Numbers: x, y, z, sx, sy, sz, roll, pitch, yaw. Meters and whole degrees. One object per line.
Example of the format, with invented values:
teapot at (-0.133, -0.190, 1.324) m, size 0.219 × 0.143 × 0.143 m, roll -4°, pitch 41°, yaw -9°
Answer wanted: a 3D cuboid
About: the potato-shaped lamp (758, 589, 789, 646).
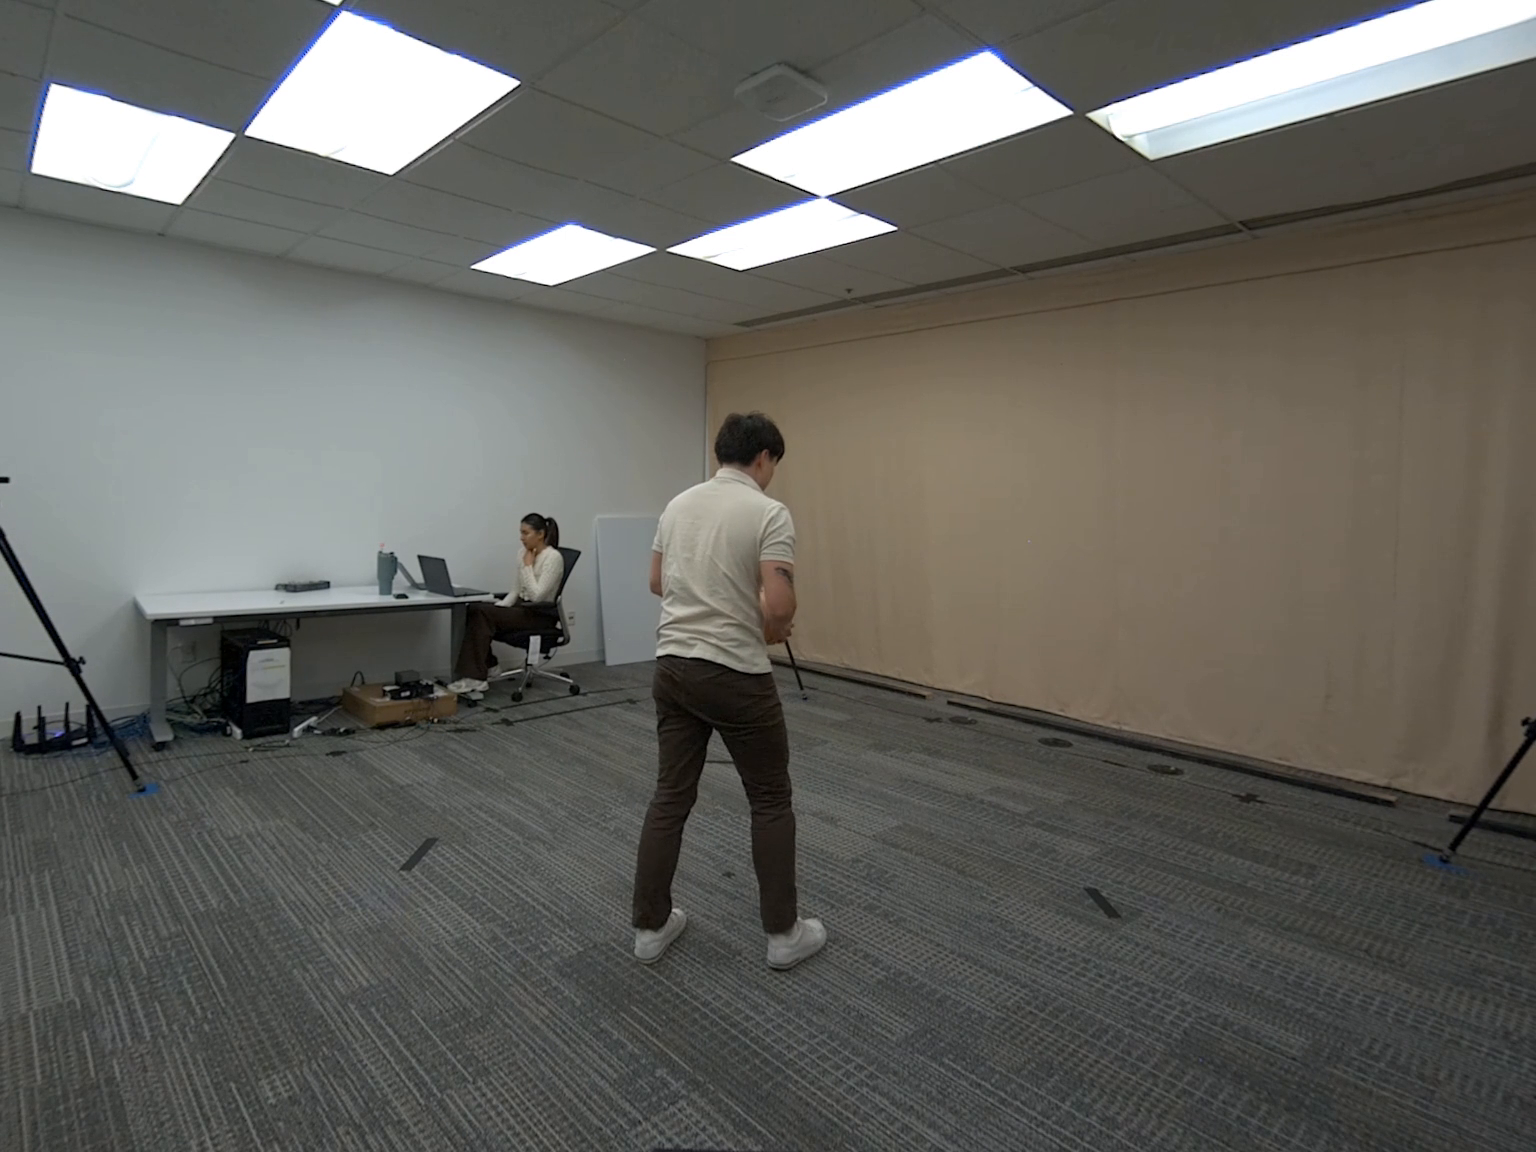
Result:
potato-shaped lamp at (0.007, 0.114, 2.812) m, size 0.168 × 0.199 × 0.166 m, roll -2°, pitch -31°, yaw 48°
